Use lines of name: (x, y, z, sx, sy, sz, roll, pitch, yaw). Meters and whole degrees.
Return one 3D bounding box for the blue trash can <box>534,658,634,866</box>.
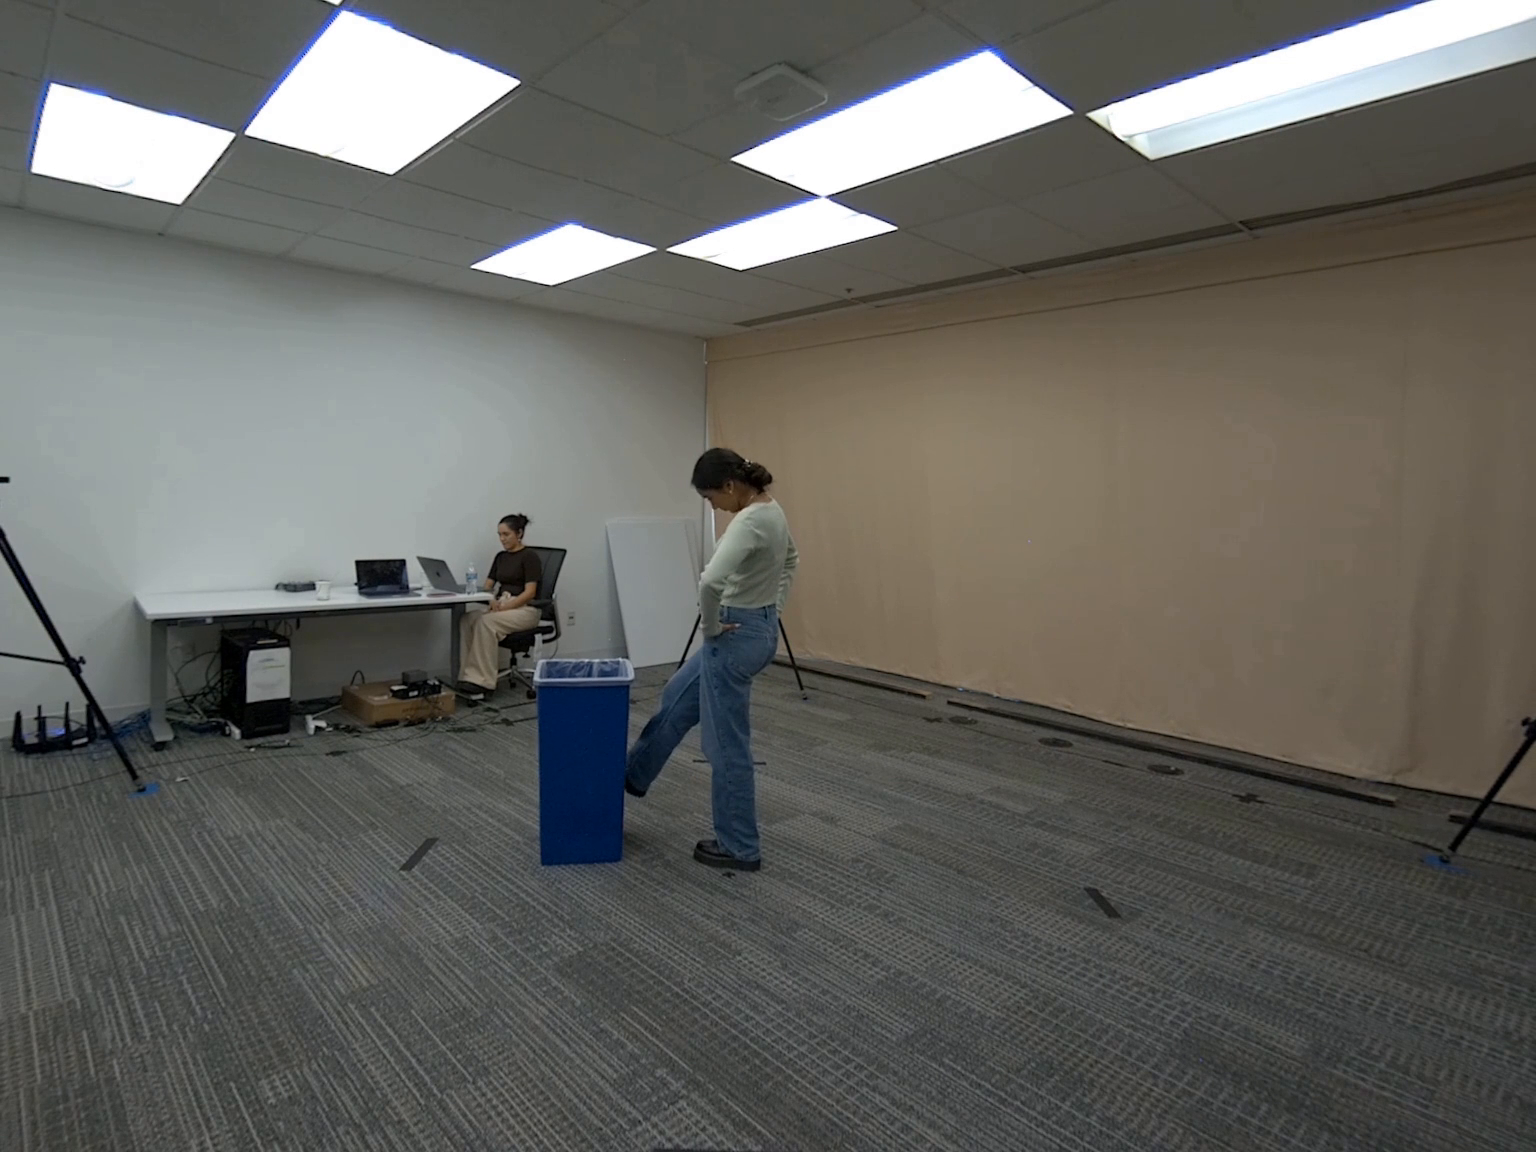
blue trash can: (-0.734, 0.711, 3.290, 0.370, 0.711, 0.382, 1, 4, -12)
